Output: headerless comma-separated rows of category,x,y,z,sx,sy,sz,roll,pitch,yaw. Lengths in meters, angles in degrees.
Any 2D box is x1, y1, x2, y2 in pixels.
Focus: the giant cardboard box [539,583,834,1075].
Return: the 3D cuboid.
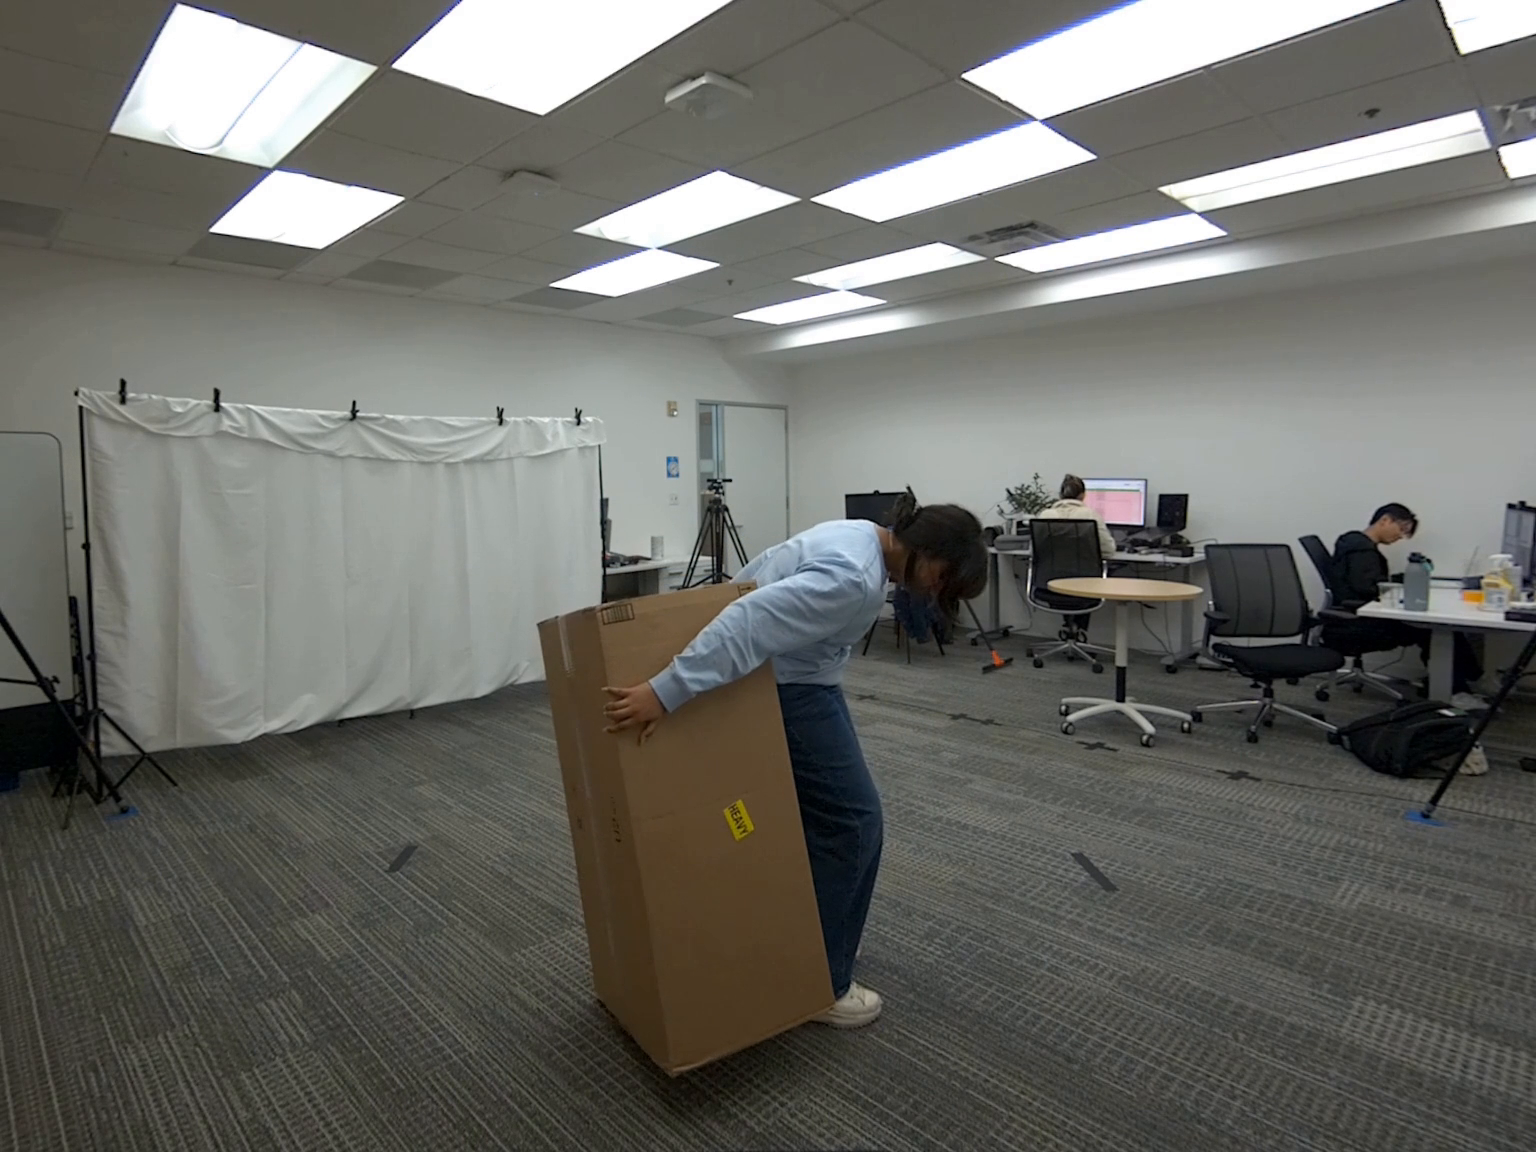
giant cardboard box,-0.244,0.575,2.216,0.418,1.032,0.586,-8,-5,-27
